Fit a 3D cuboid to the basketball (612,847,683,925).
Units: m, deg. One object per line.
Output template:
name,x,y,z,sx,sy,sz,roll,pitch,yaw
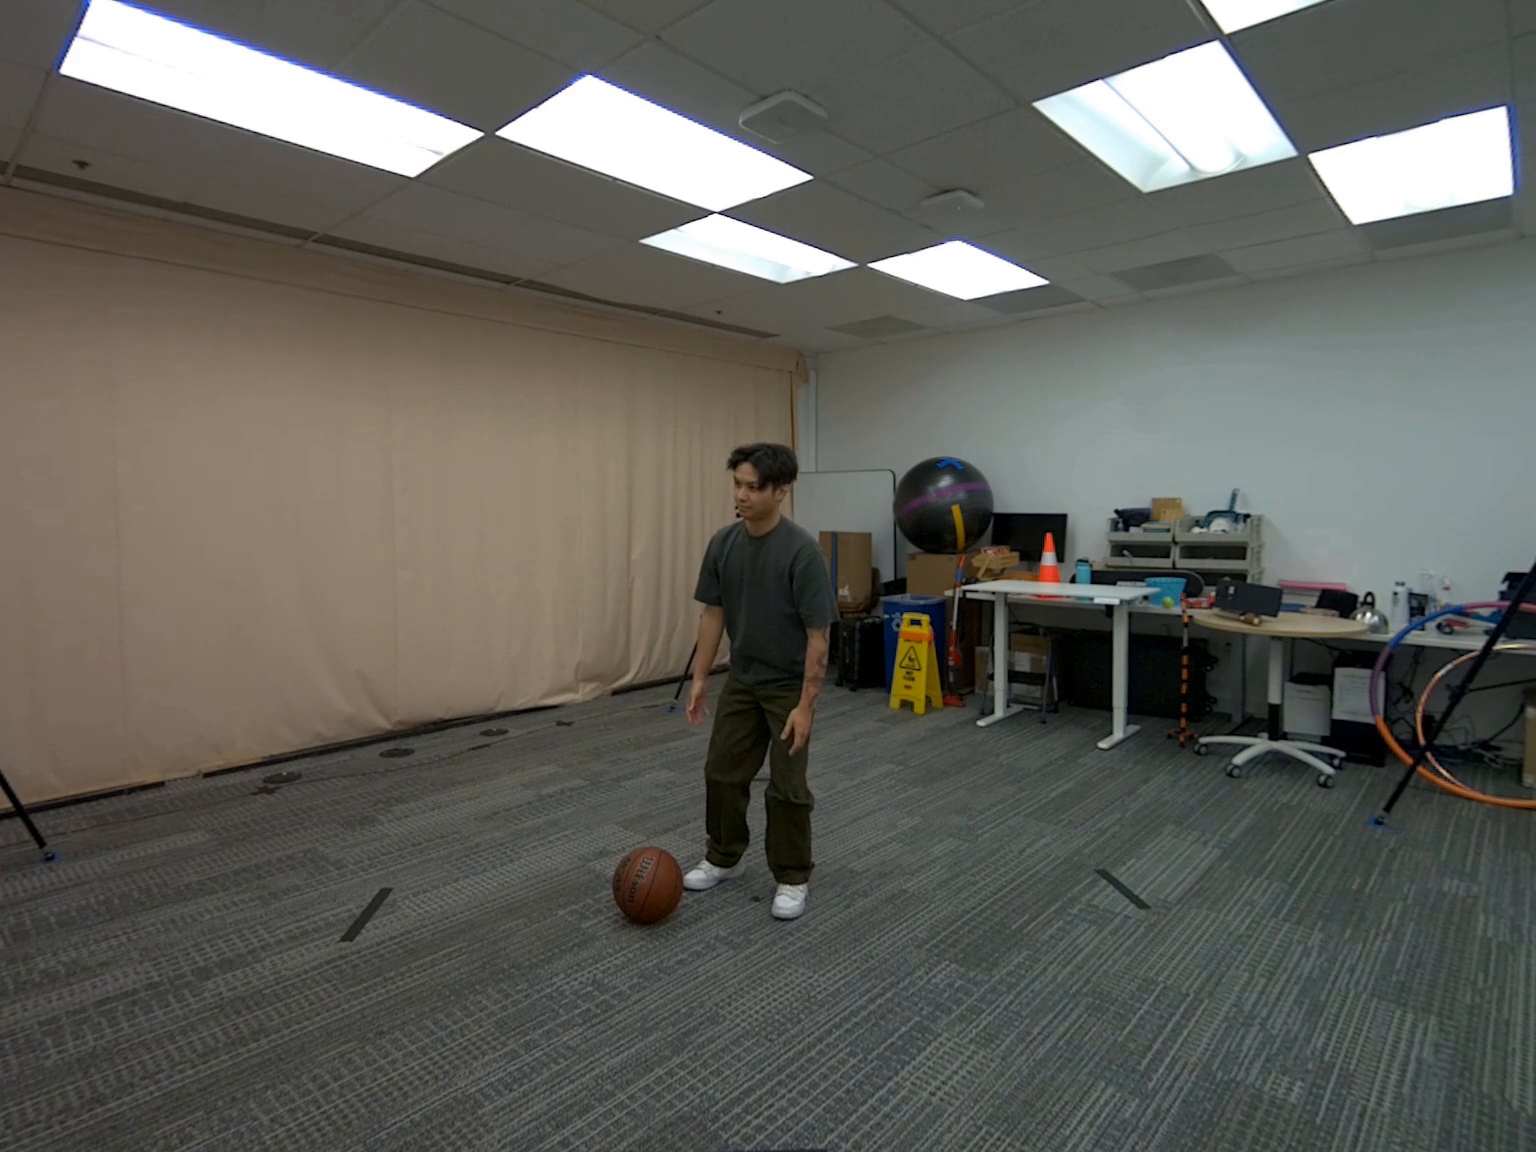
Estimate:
basketball,-0.400,1.033,2.838,0.236,0.235,0.237,0,4,-2
